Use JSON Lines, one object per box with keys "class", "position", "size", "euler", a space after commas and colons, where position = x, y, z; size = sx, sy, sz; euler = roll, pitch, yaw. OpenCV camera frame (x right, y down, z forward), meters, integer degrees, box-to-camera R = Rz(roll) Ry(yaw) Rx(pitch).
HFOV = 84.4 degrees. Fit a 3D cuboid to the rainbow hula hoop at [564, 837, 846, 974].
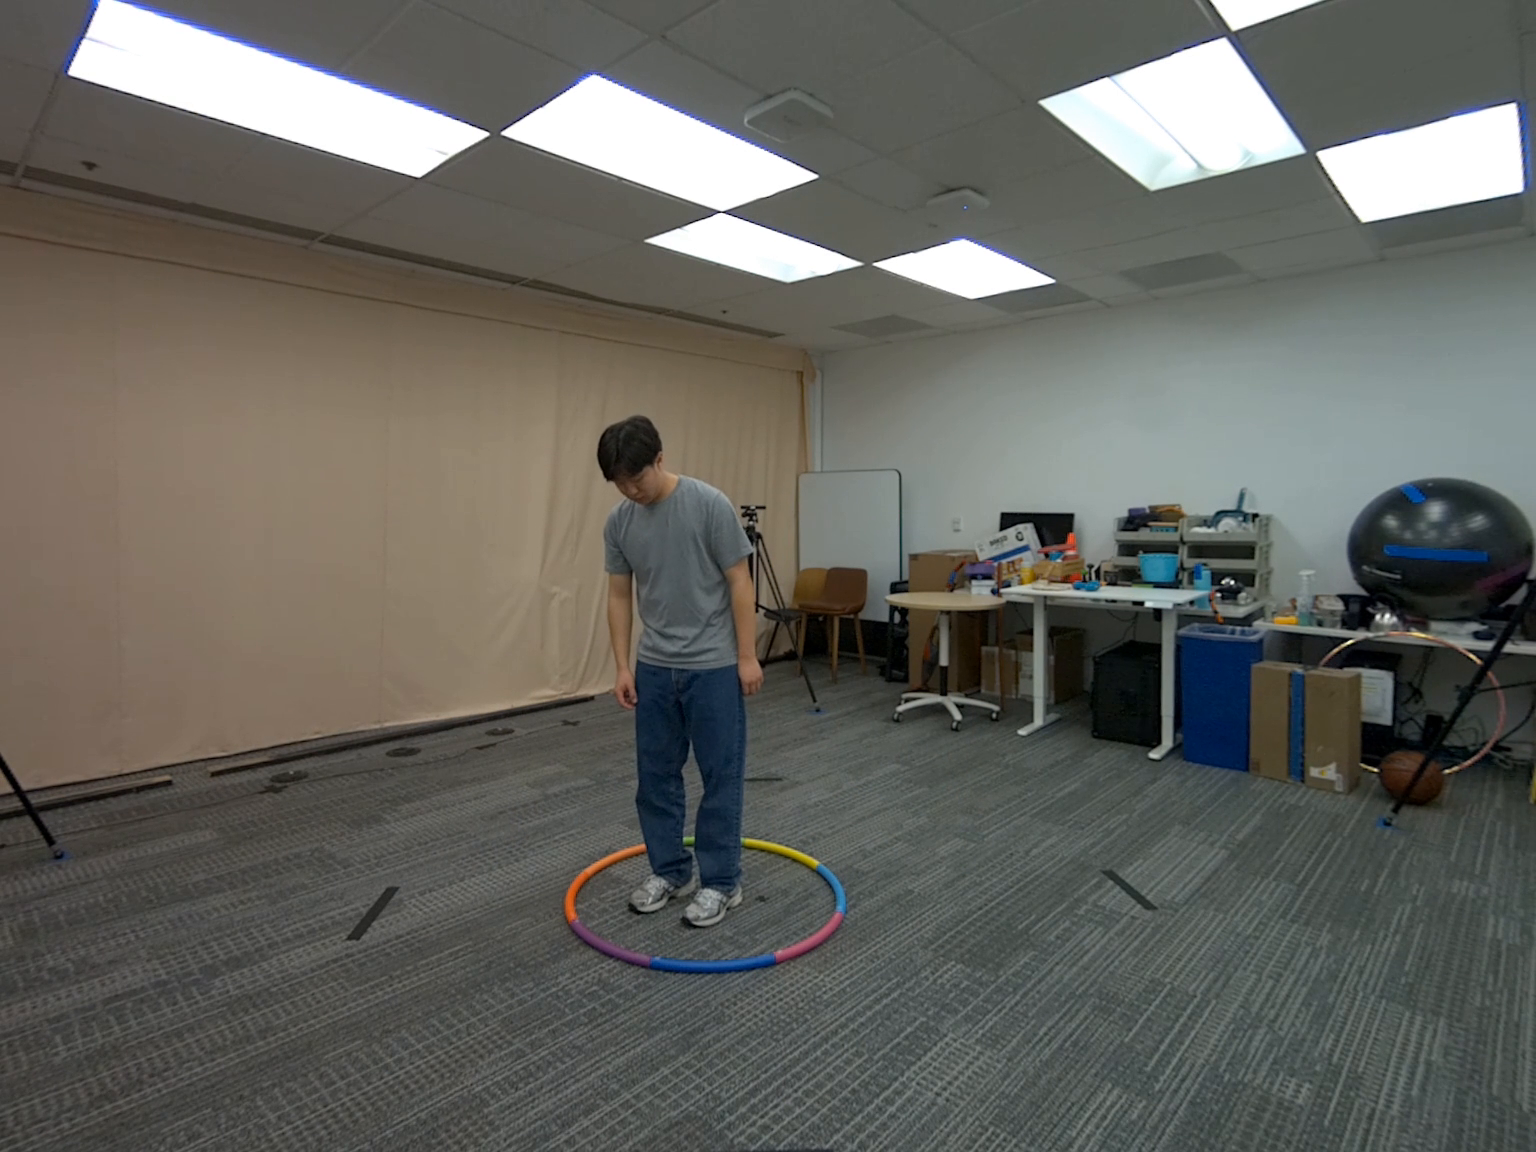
{"class": "rainbow hula hoop", "position": [-0.221, 1.116, 2.990], "size": [0.978, 0.035, 0.982], "euler": [-1, 5, -2]}
